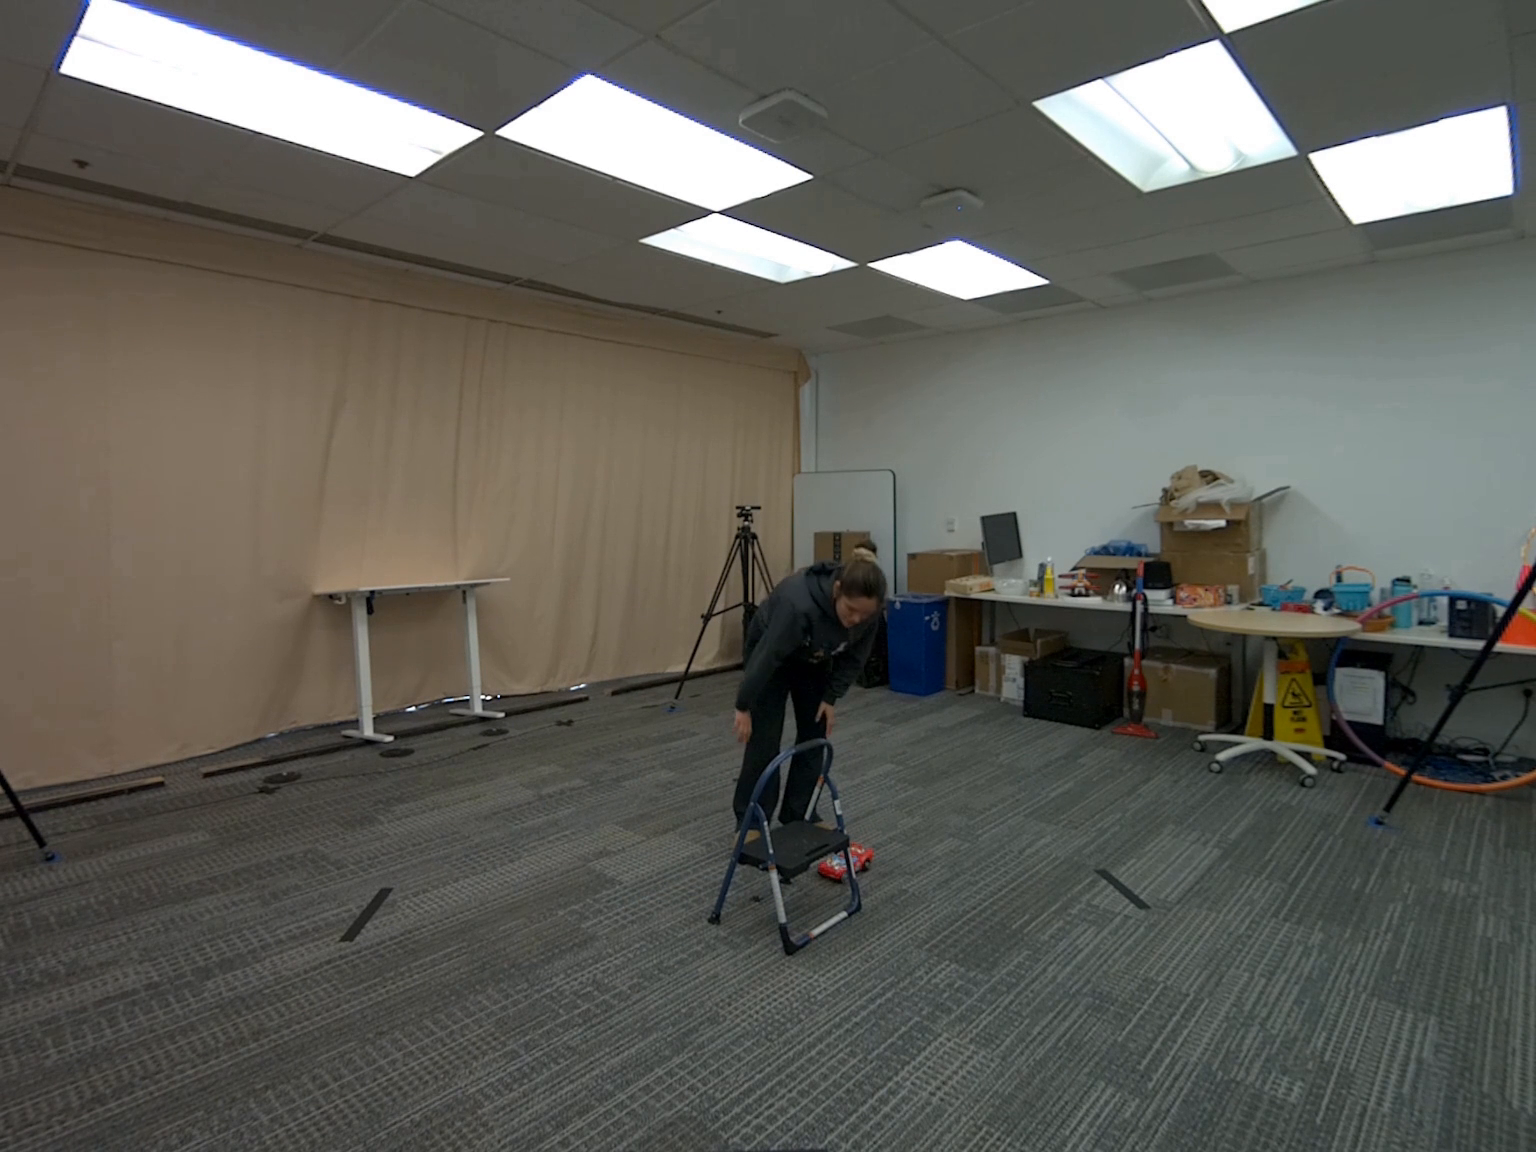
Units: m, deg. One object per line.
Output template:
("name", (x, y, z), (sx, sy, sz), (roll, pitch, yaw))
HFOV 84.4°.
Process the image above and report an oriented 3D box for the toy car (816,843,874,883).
("toy car", (0.330, 1.086, 3.202), (0.134, 0.082, 0.248), (3, 17, 44))
